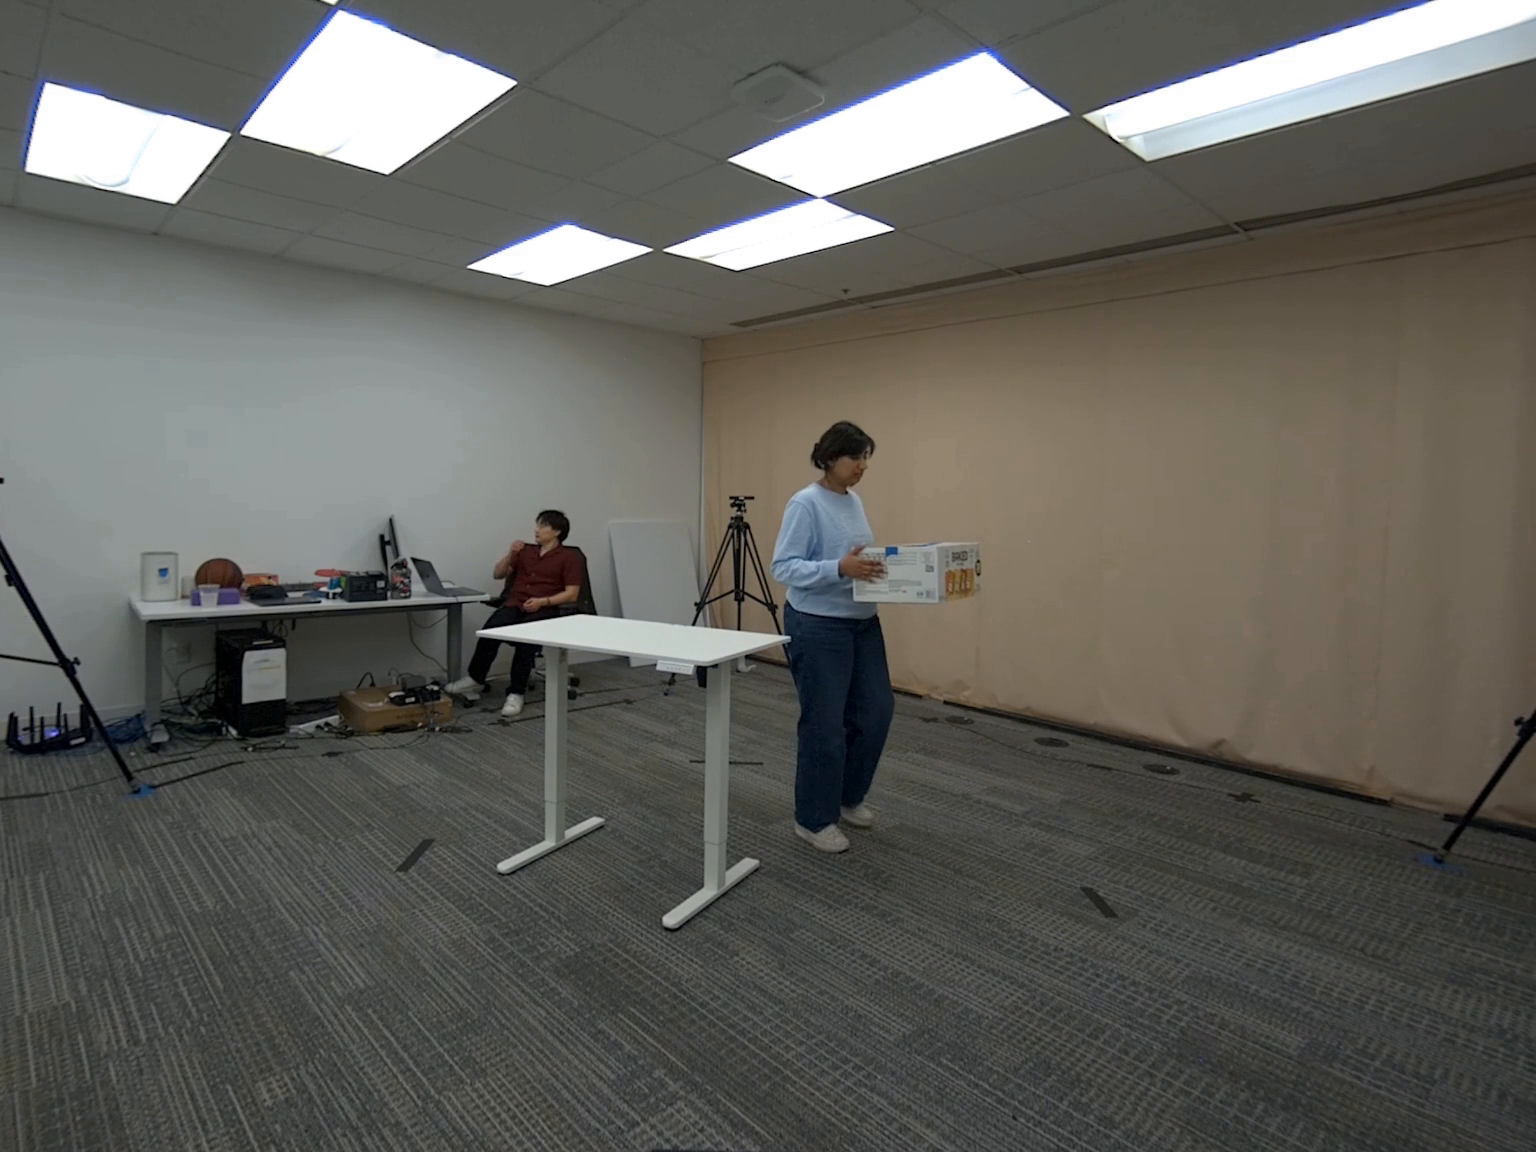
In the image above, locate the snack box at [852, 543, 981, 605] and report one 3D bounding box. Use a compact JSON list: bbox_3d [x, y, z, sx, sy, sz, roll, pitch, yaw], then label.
[{"bbox_3d":[0.563,-0.015,3.184,0.348,0.205,0.396,0,3,36],"label":"snack box"}]
